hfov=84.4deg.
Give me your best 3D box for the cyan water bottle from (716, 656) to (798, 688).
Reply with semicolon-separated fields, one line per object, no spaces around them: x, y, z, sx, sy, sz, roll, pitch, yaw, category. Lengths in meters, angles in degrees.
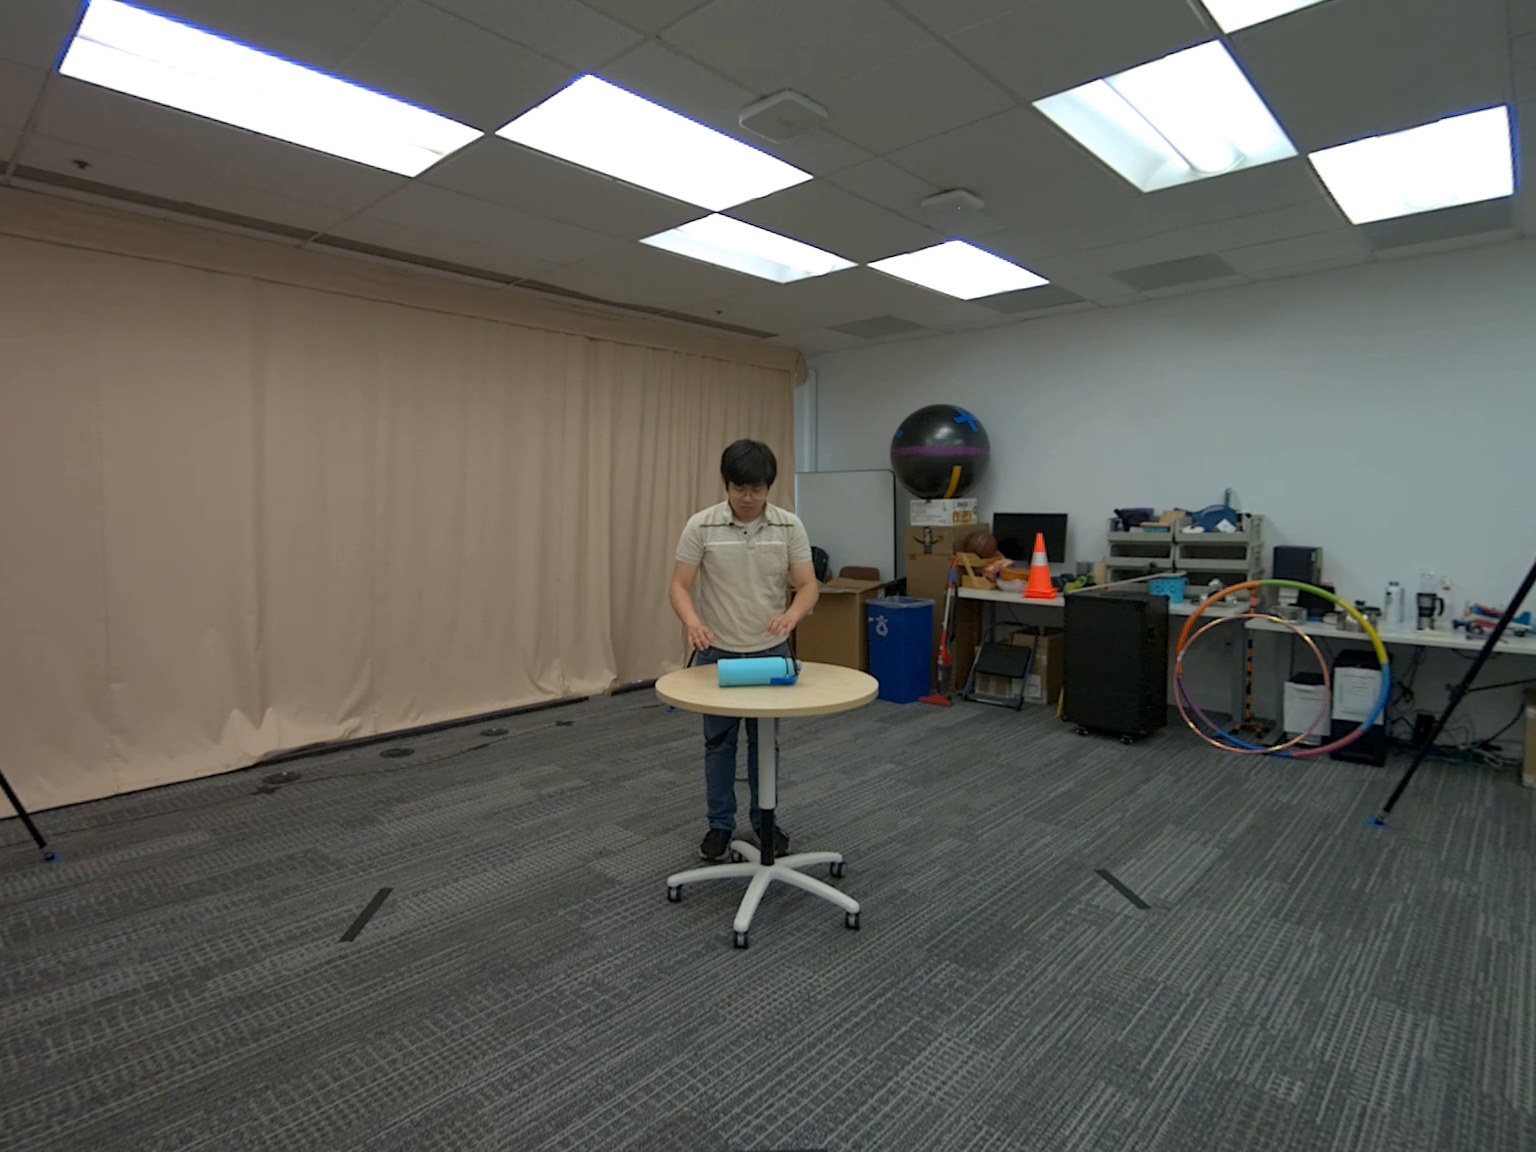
-0.029;0.323;2.866;0.282;0.092;0.093;-1;4;-3;cyan water bottle
